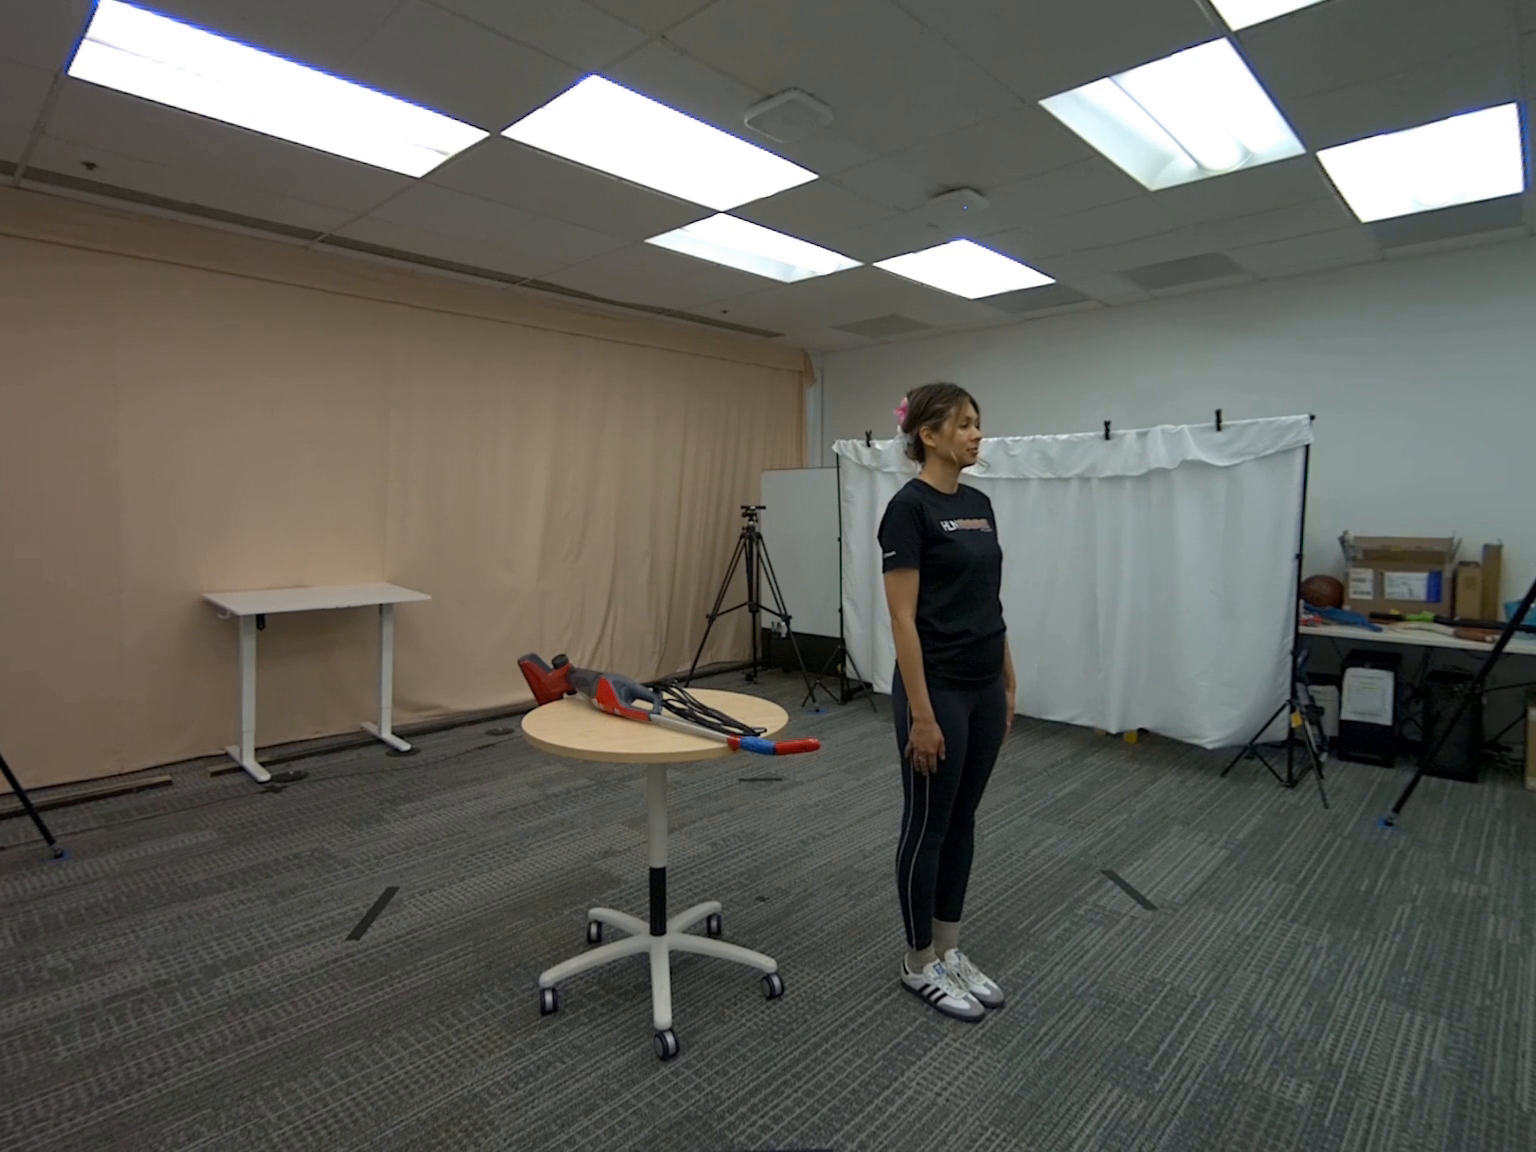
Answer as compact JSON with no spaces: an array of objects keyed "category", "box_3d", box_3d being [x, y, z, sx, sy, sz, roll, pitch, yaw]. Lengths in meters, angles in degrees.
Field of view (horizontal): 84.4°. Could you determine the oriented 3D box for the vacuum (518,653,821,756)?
[{"category":"vacuum","box_3d":[-0.292,0.376,2.377,1.084,0.247,0.142,4,32,40]}]
